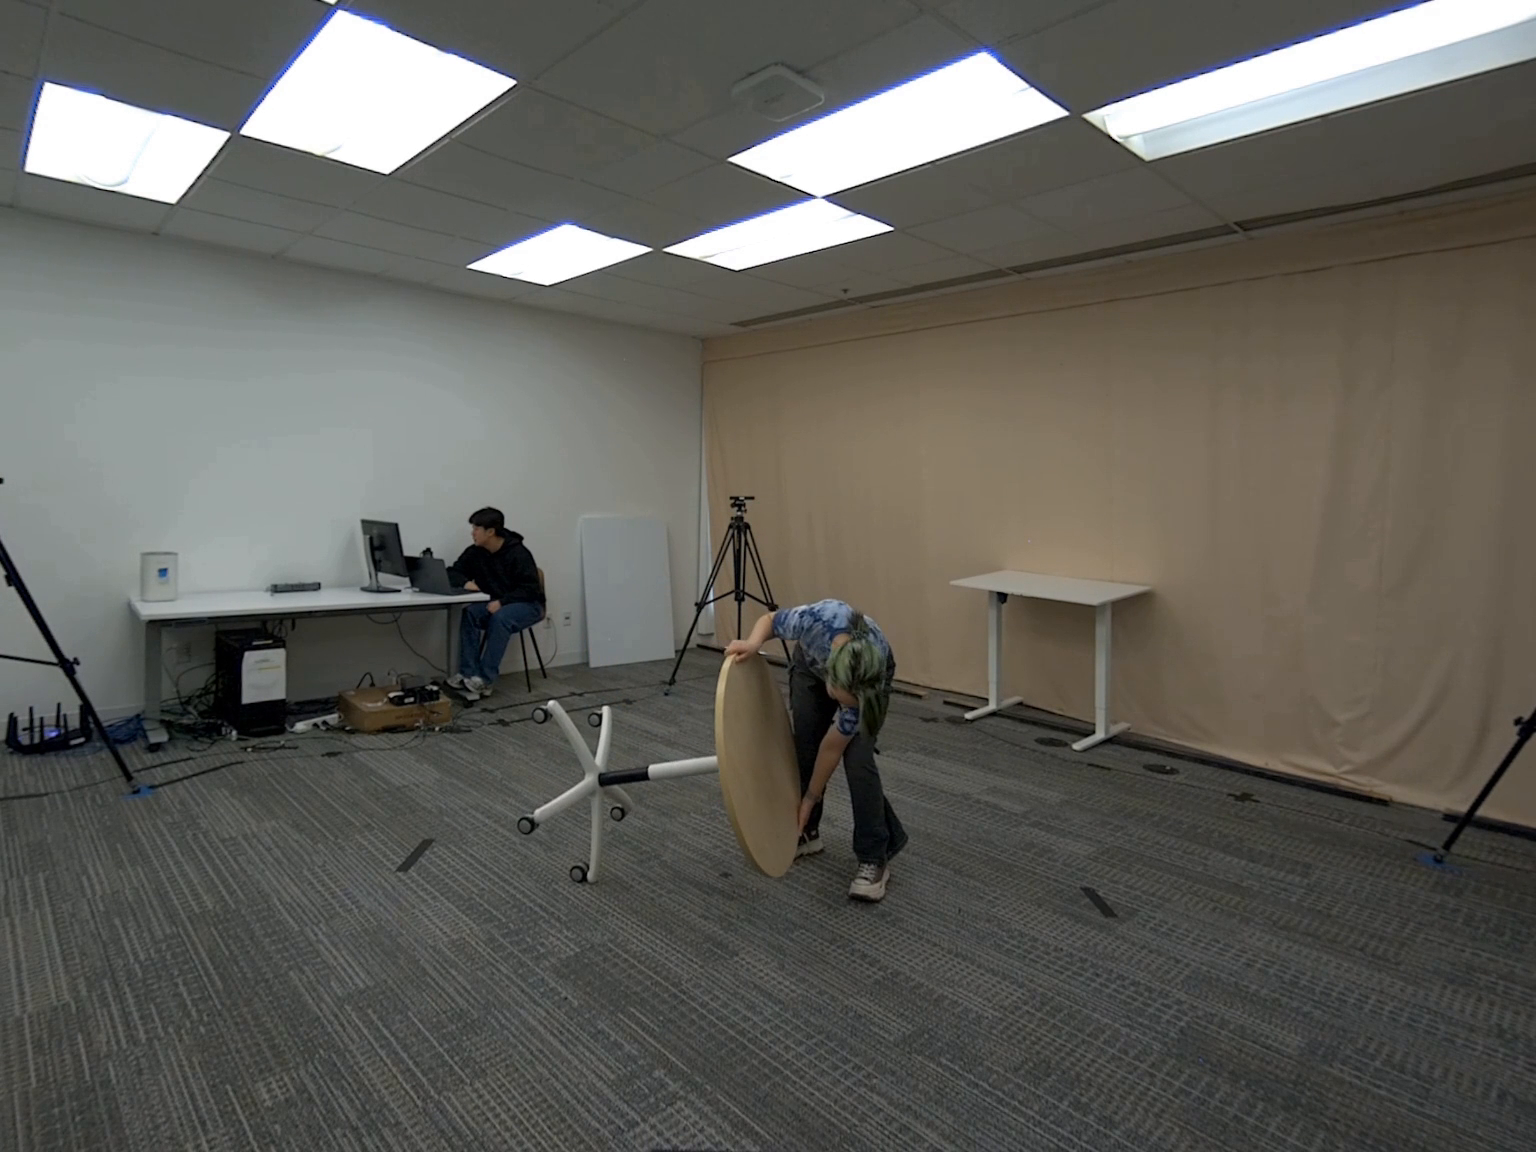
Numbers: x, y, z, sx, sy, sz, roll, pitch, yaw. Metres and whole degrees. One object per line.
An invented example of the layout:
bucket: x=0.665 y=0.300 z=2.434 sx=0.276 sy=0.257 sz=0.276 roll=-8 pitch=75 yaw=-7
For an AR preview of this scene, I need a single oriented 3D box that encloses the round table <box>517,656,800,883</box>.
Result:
round table: x=-0.383 y=0.711 z=3.000 sx=0.802 sy=0.764 sz=0.756 roll=-12 pitch=0 yaw=16
